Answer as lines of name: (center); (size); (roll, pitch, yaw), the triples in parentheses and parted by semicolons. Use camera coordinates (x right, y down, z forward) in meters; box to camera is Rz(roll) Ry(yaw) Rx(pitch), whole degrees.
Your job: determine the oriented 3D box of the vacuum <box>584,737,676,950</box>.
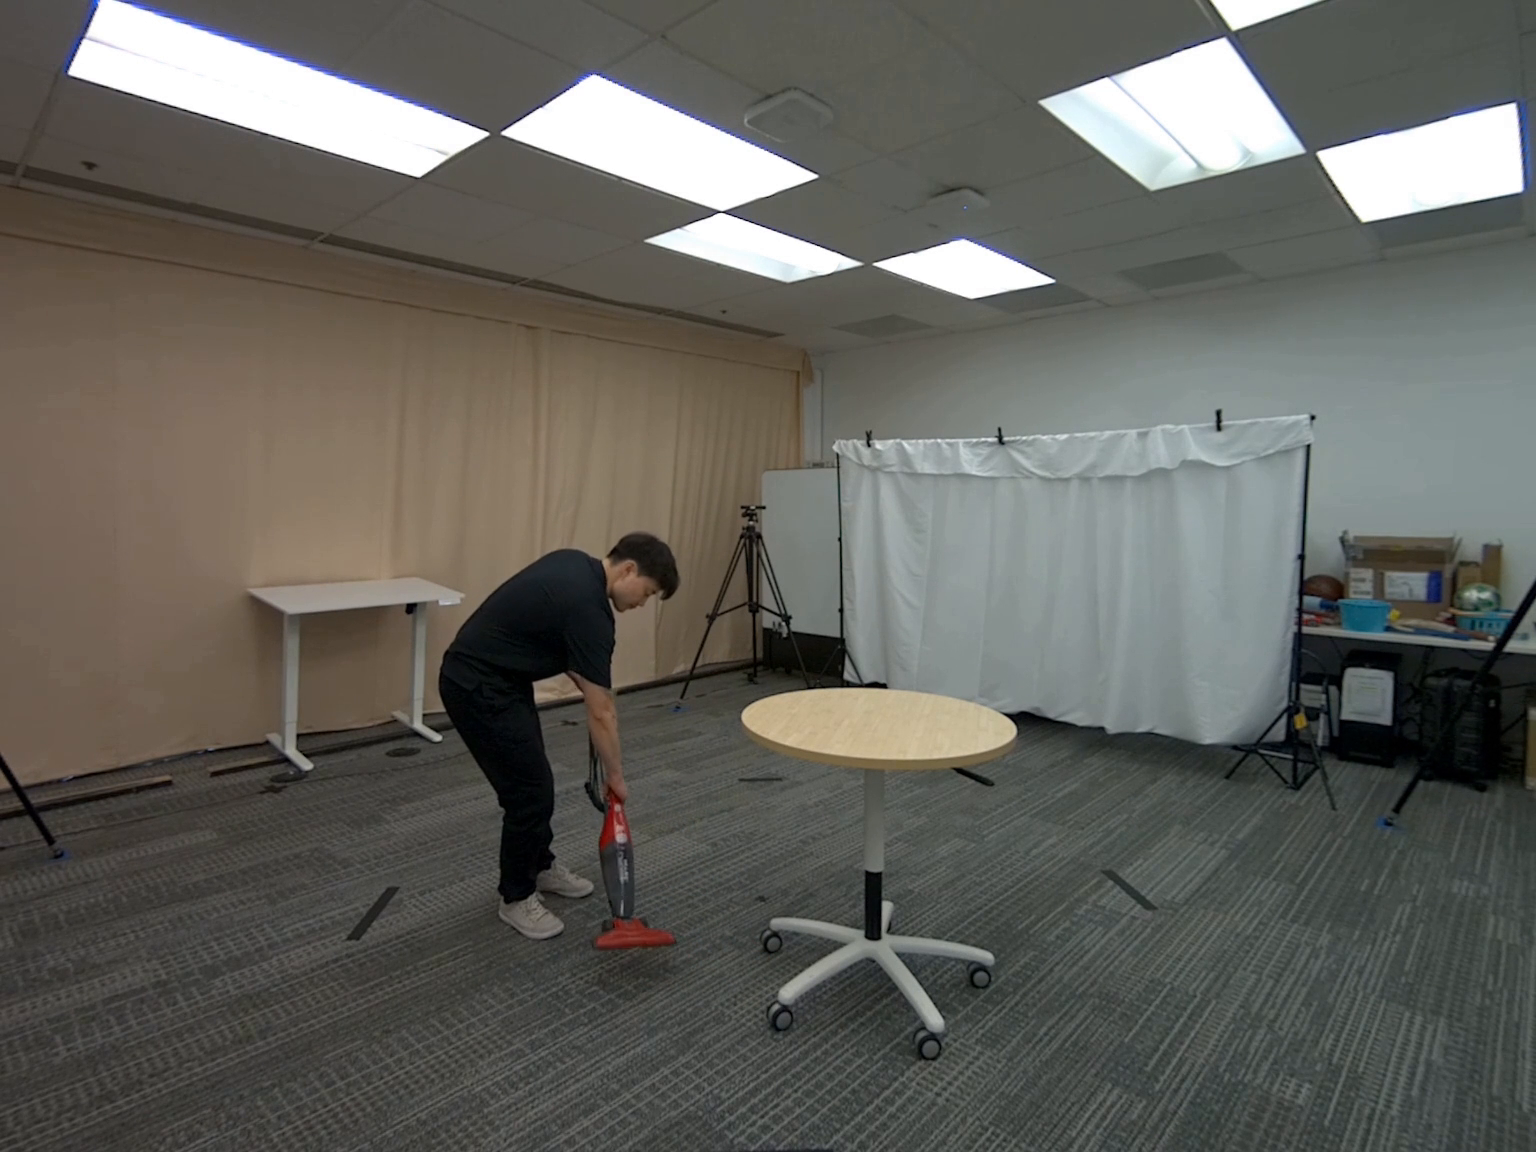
vacuum: (-0.541, 0.711, 2.859); (0.246, 0.144, 1.080); (9, 38, -27)
